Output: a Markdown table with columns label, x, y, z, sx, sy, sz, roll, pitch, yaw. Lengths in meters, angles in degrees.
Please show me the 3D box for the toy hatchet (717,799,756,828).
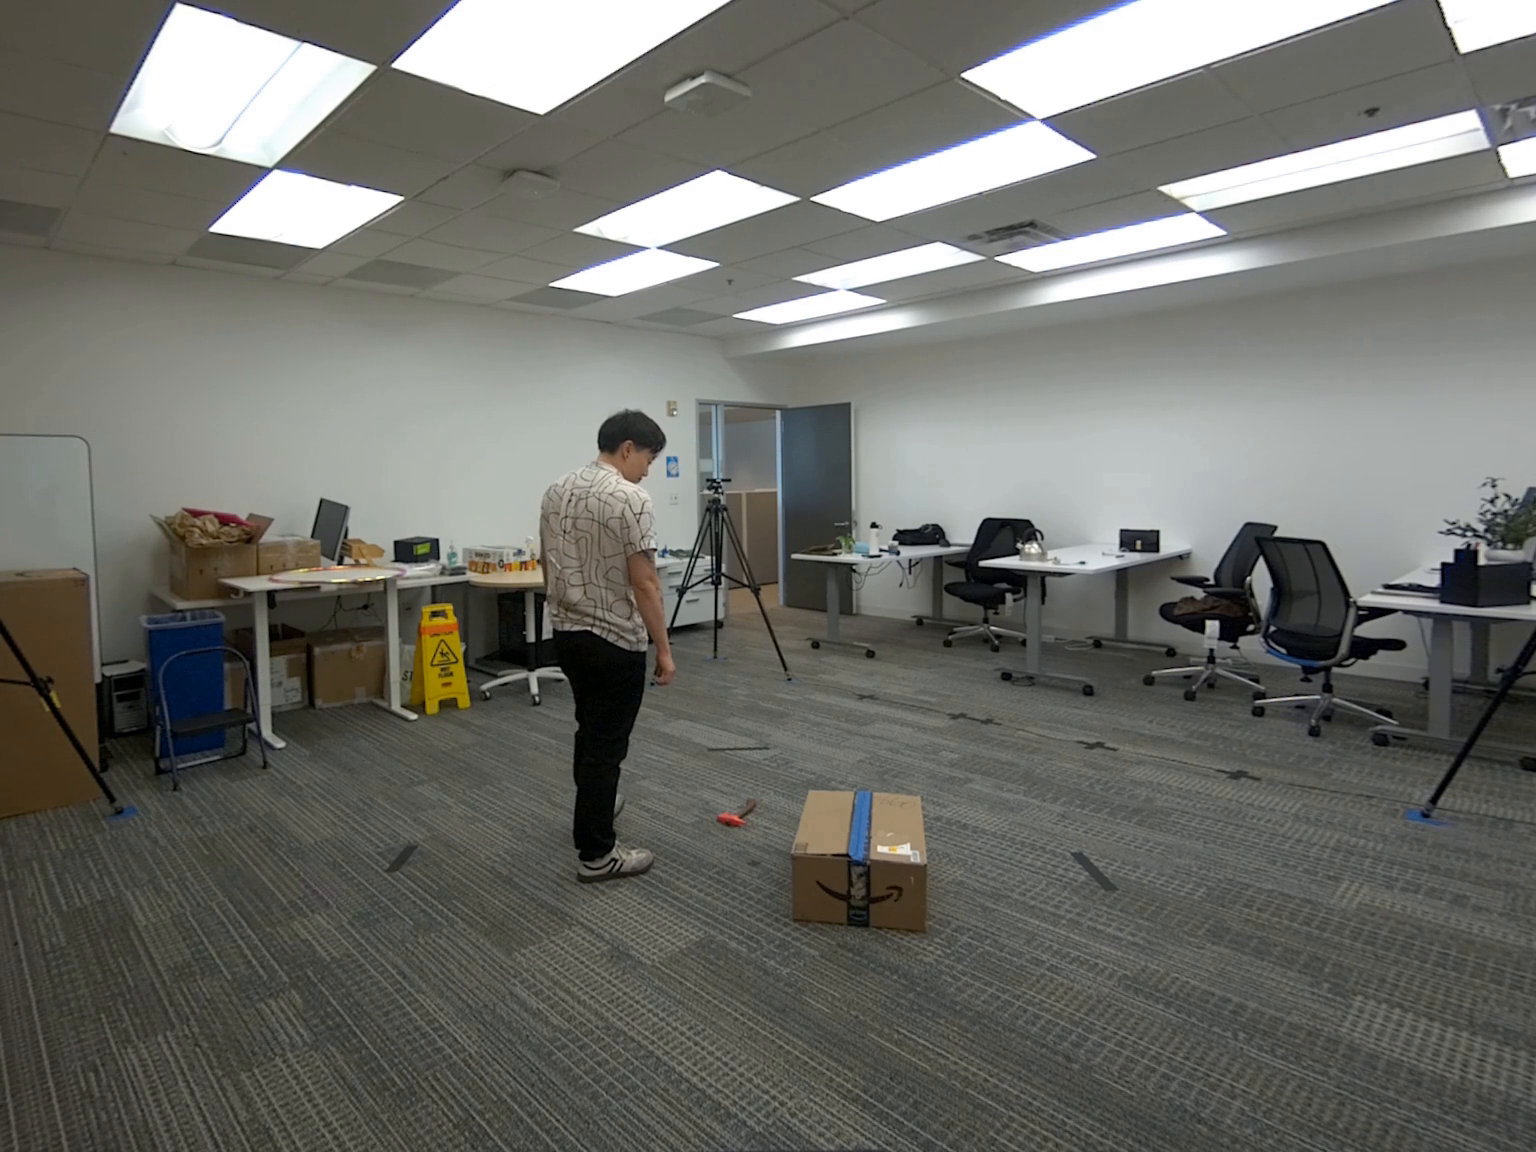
| label | x | y | z | sx | sy | sz | roll | pitch | yaw |
| --- | --- | --- | --- | --- | --- | --- | --- | --- | --- |
| toy hatchet | -0.132 | 0.982 | 3.569 | 0.132 | 0.029 | 0.268 | -2 | 5 | 10 |
